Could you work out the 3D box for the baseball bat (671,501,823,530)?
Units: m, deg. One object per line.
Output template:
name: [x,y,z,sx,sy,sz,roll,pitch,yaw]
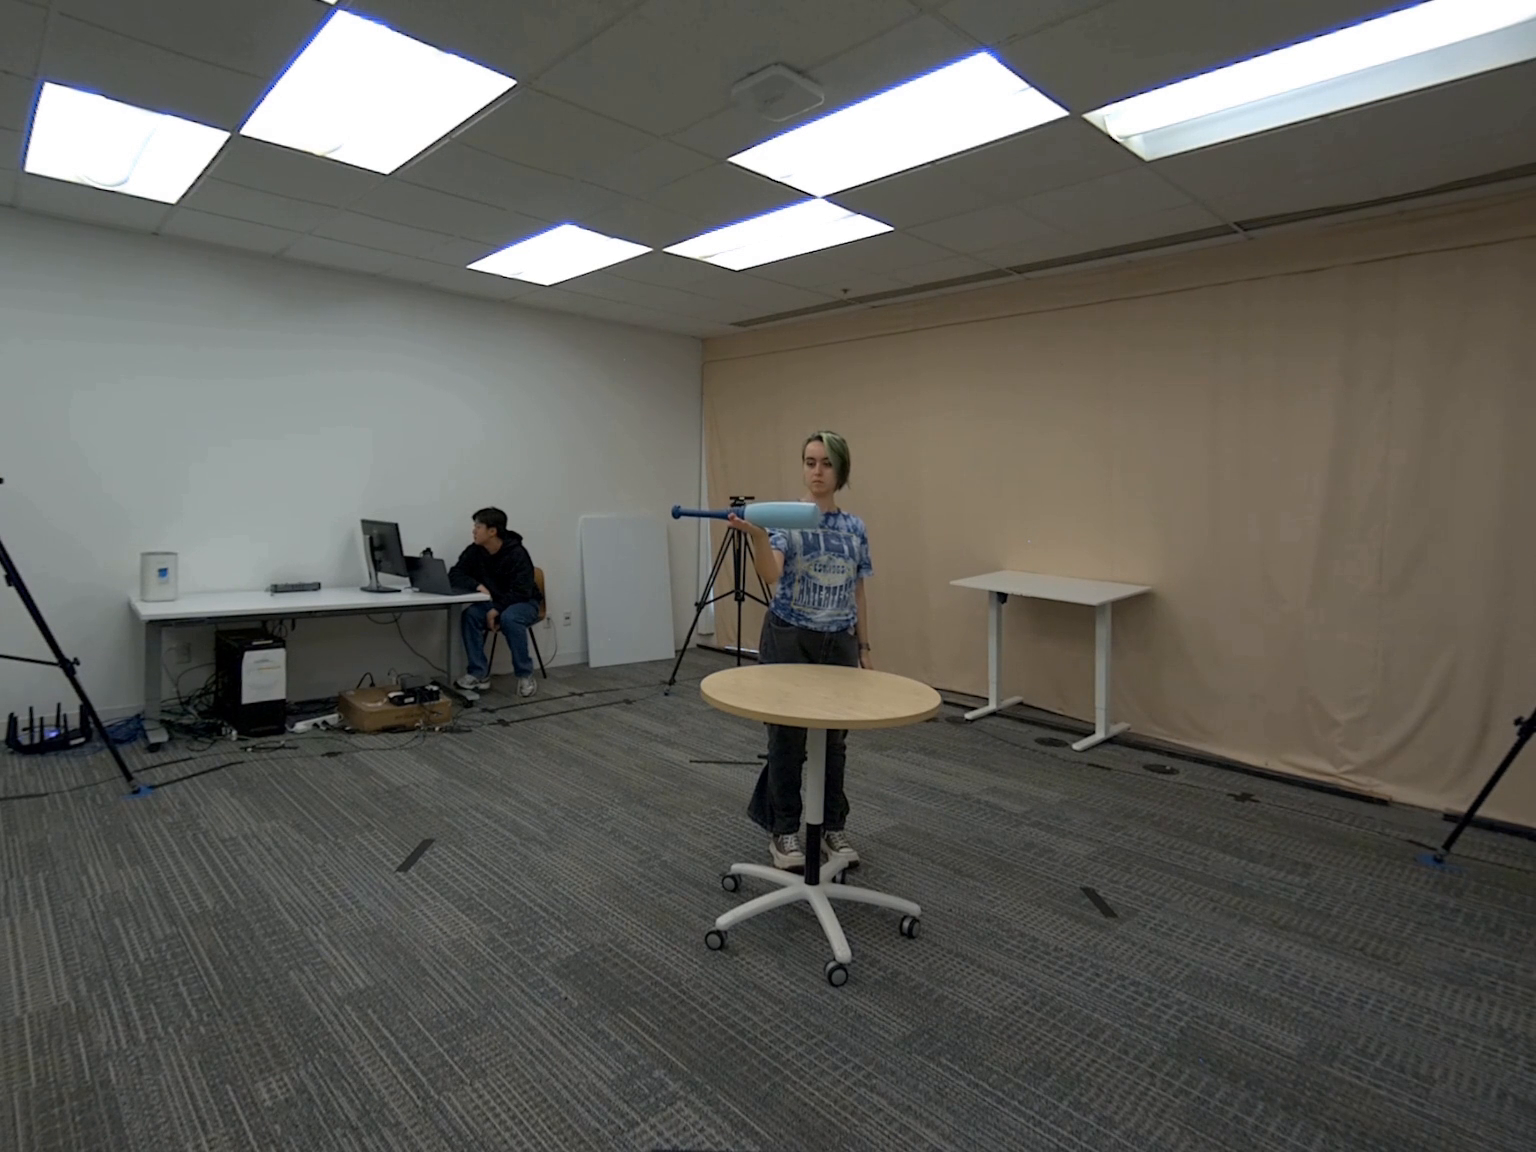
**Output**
baseball bat: [-0.085,-0.205,2.837,0.553,0.089,0.087,4,5,25]
